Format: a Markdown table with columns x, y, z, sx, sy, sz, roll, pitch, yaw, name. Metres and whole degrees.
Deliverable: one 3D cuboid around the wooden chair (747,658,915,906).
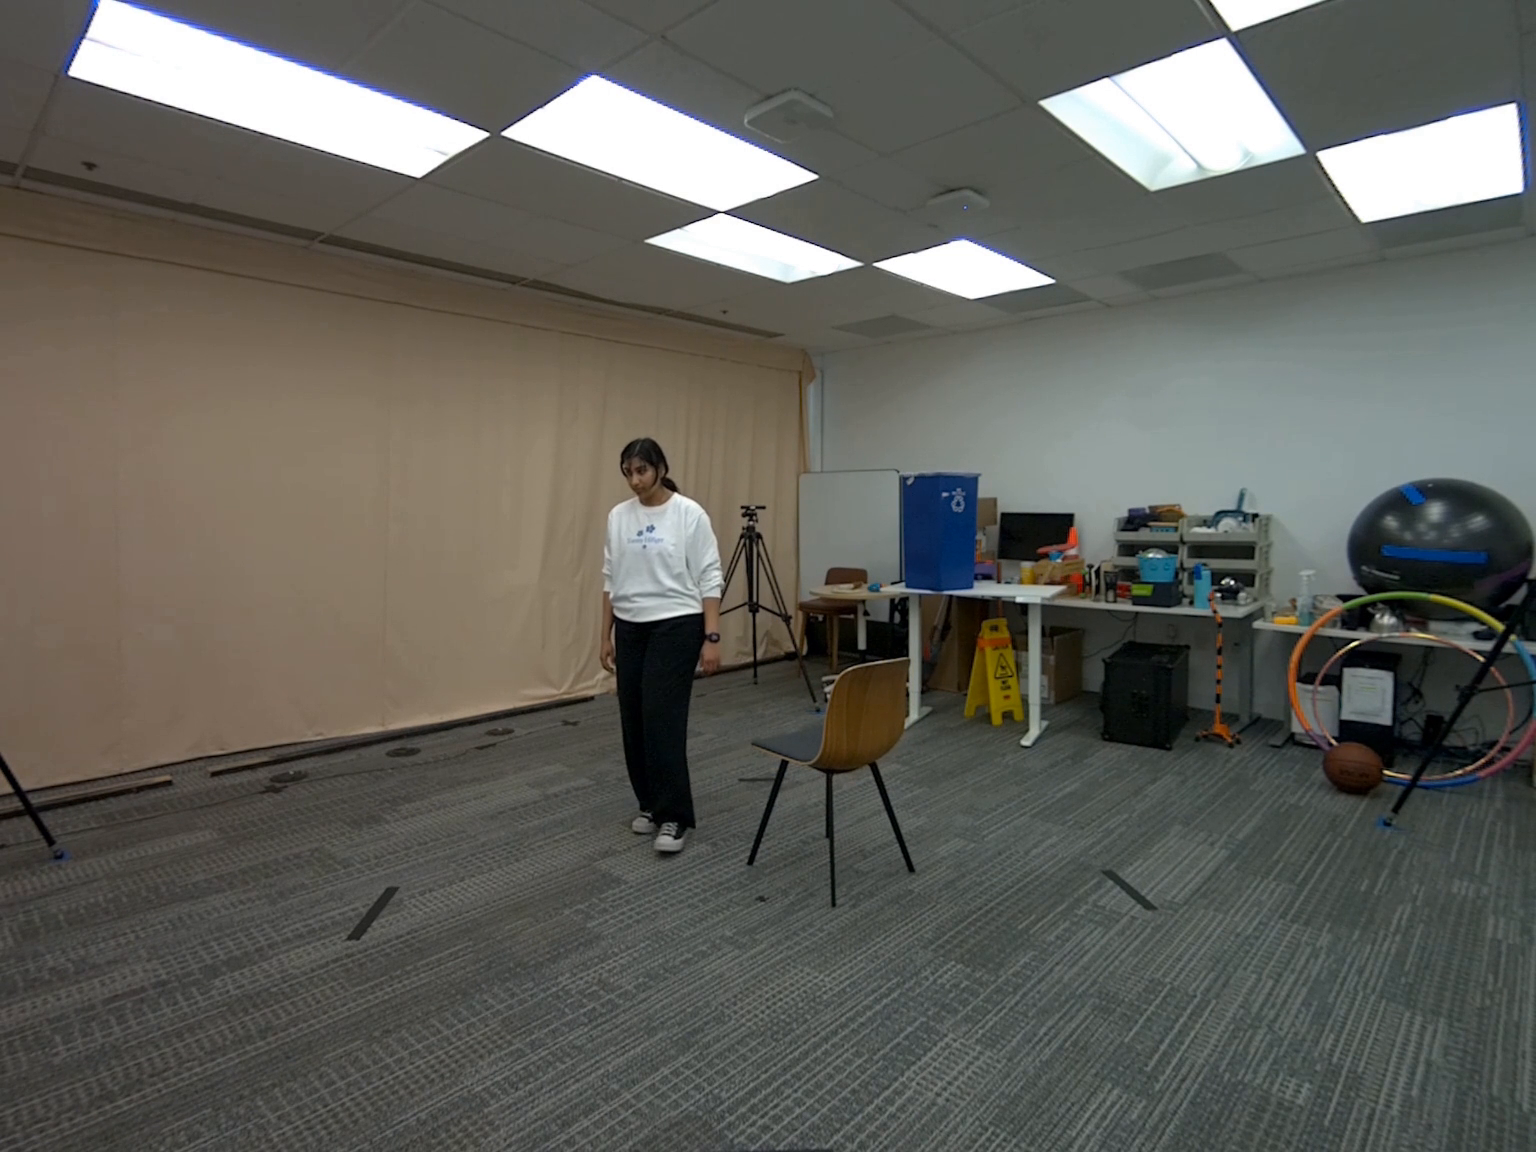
| x | y | z | sx | sy | sz | roll | pitch | yaw | name |
| --- | --- | --- | --- | --- | --- | --- | --- | --- | --- |
| 0.238 | 0.695 | 3.204 | 0.463 | 0.874 | 0.541 | -3 | 9 | -41 | wooden chair |
